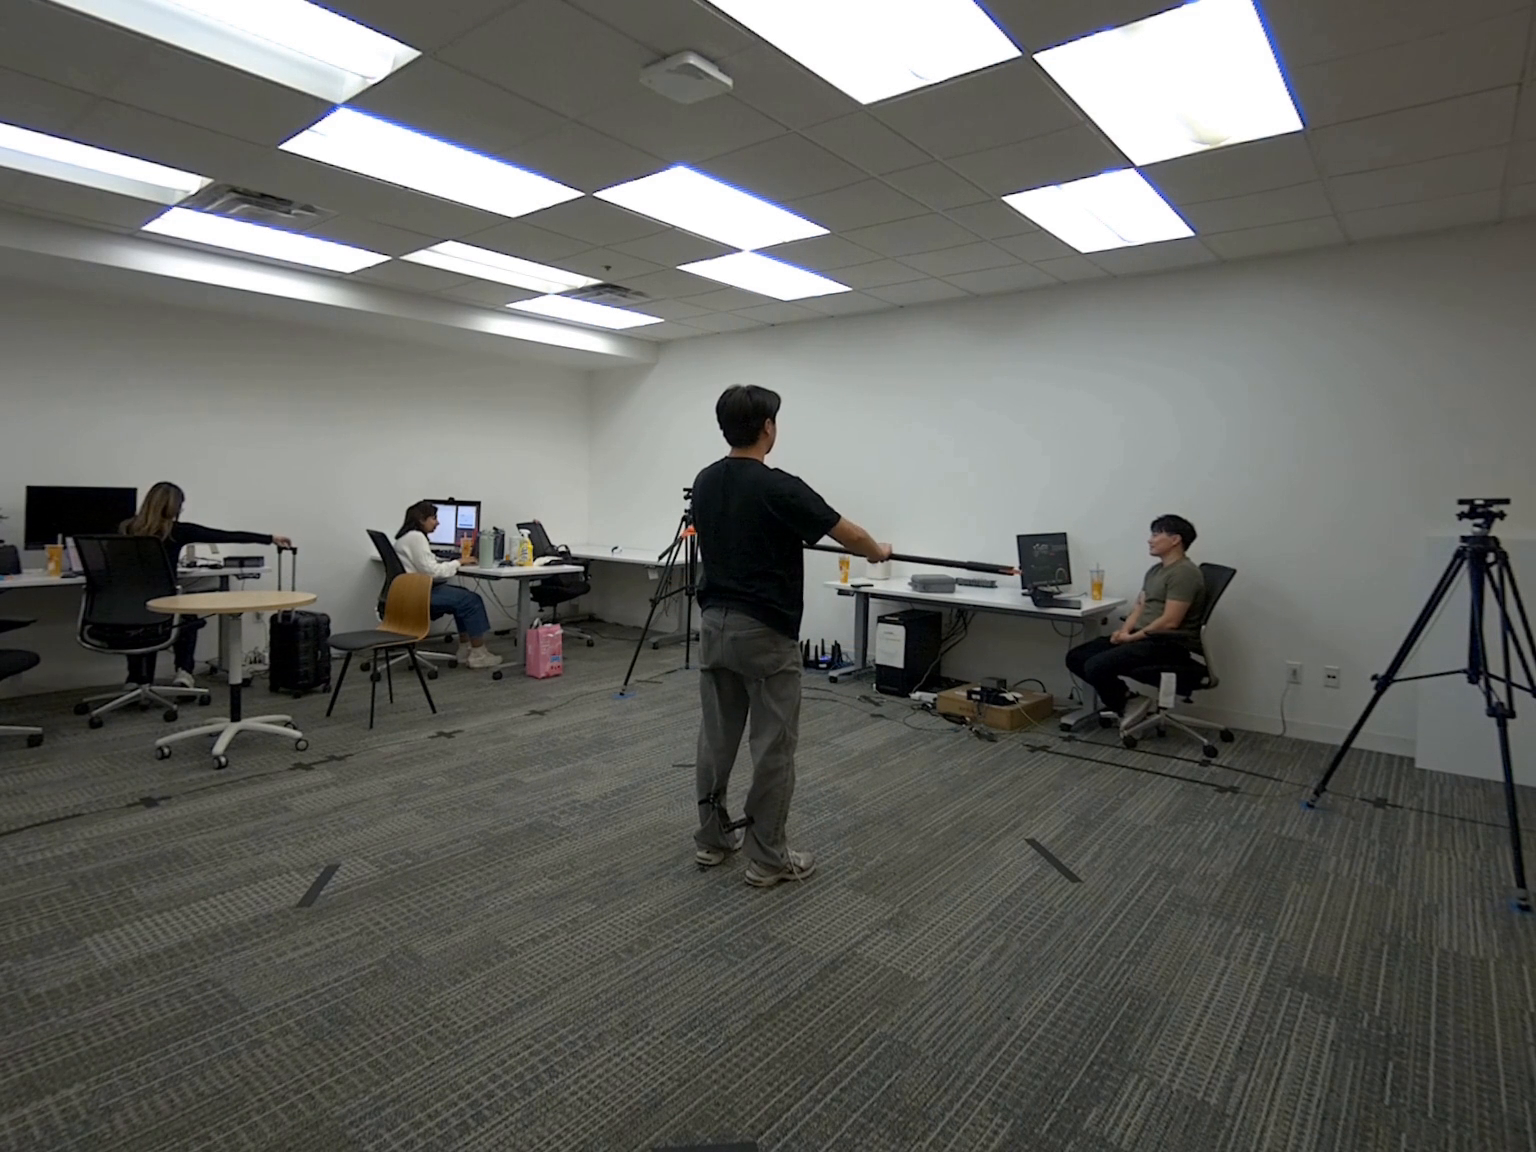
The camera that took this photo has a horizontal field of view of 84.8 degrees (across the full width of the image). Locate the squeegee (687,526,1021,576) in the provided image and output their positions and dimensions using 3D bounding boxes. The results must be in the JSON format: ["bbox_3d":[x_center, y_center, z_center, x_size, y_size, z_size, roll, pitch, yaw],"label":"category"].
[{"bbox_3d":[0.248,-0.104,3.374,1.592,0.051,0.437,9,43,38],"label":"squeegee"}]
